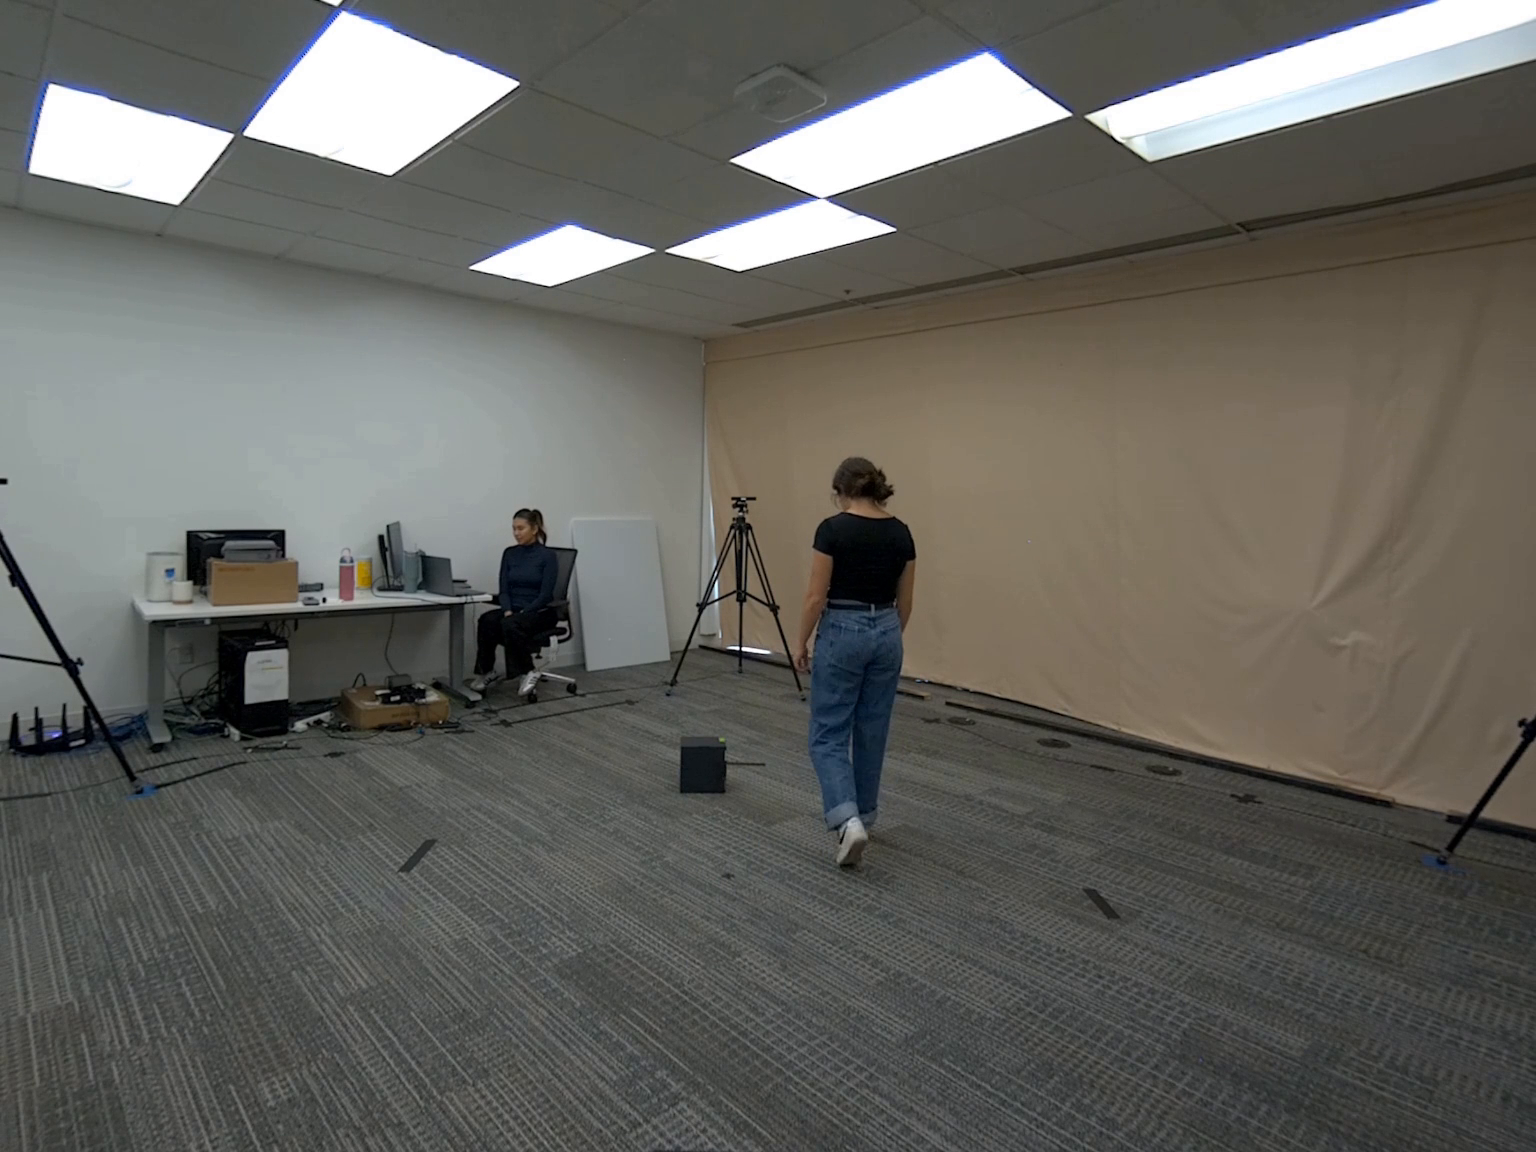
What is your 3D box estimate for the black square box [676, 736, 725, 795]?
[{"bbox_3d":[-0.326,0.900,4.047,0.216,0.227,0.157,2,4,-5],"label":"black square box"}]
